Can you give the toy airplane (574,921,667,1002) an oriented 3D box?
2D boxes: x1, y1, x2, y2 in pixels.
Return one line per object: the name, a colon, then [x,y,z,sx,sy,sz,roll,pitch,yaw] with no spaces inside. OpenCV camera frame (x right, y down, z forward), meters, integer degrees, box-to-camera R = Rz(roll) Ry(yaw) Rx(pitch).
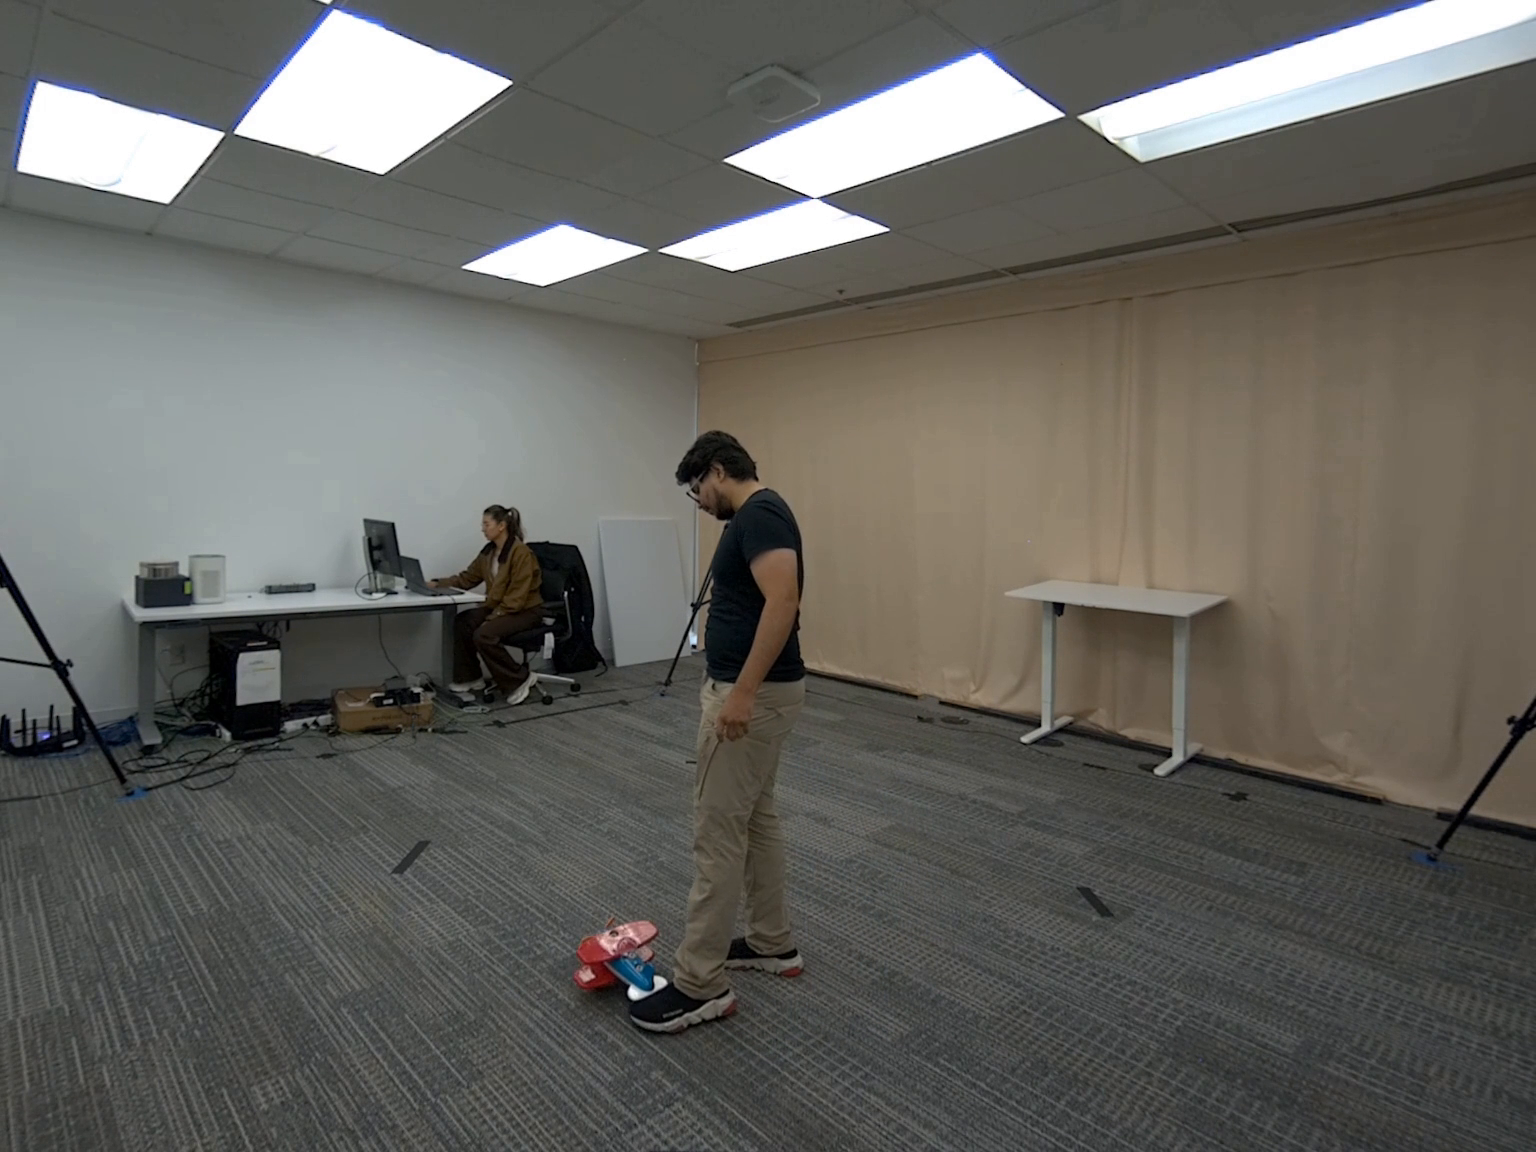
toy airplane: [-0.389,1.091,2.359,0.263,0.156,0.248,-1,4,18]
